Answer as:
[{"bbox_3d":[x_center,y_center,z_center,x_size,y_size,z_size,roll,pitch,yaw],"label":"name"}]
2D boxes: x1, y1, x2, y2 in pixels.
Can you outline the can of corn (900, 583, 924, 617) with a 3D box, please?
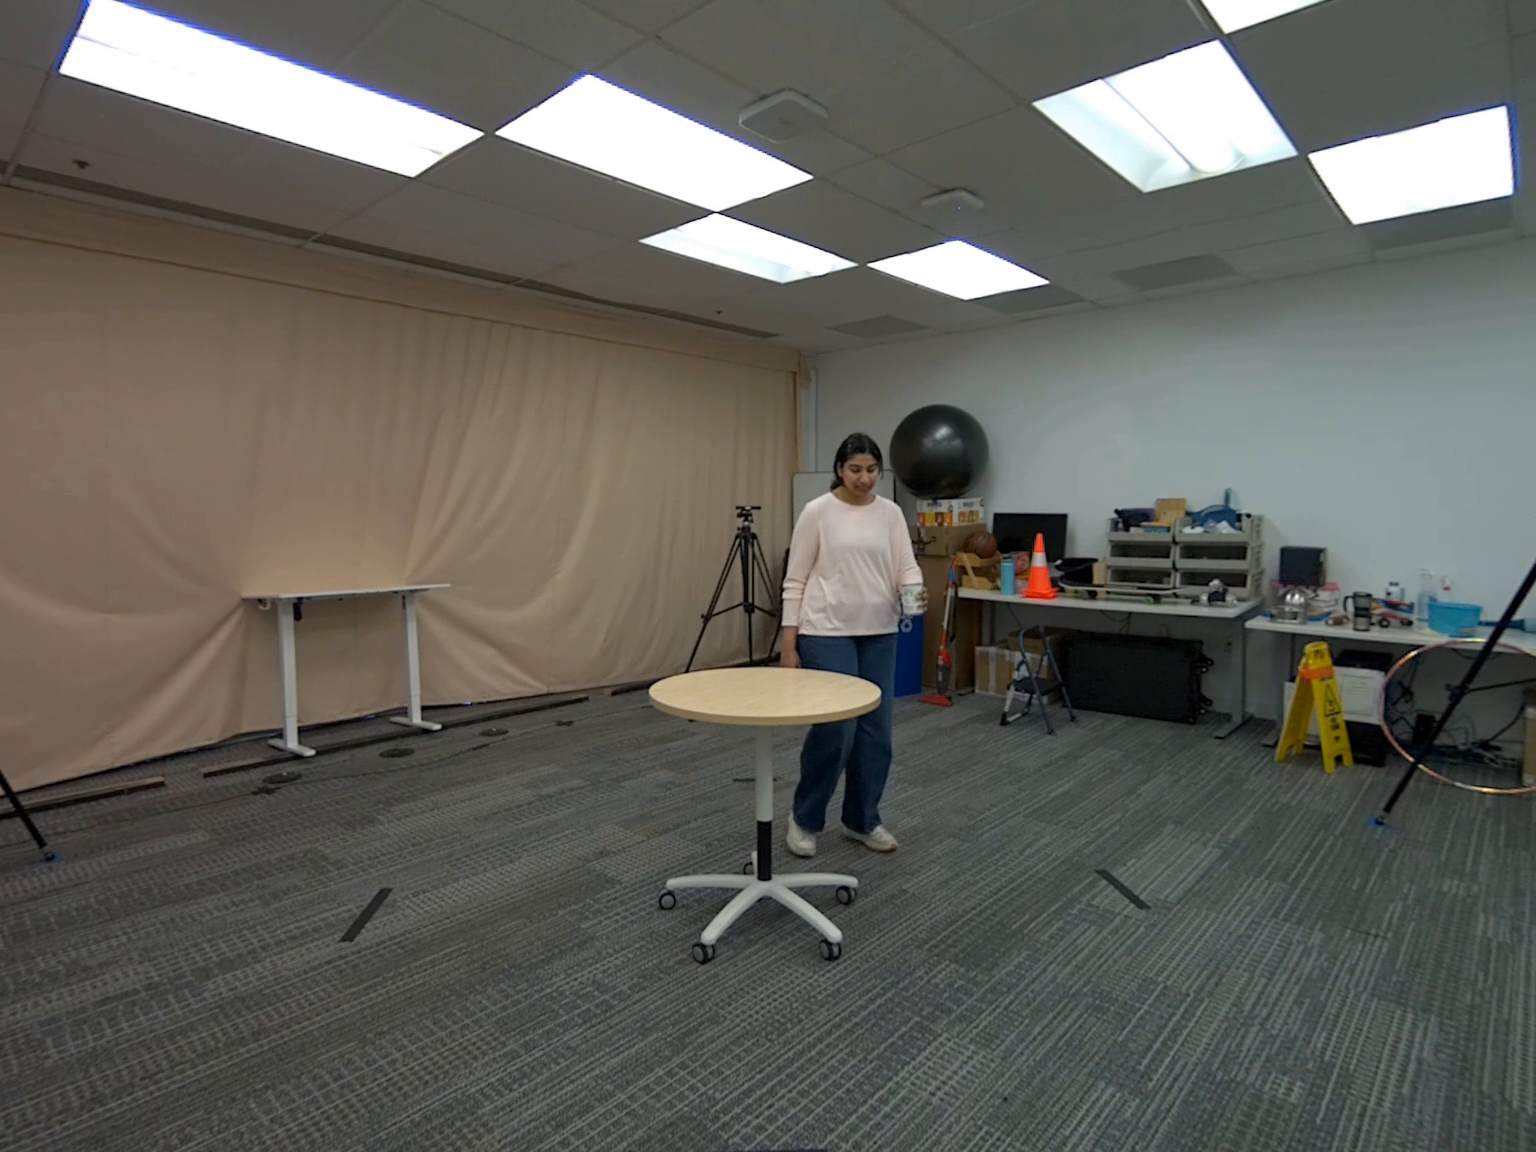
[{"bbox_3d":[0.555,0.090,3.110,0.074,0.111,0.074,-5,-3,-2],"label":"can of corn"}]
